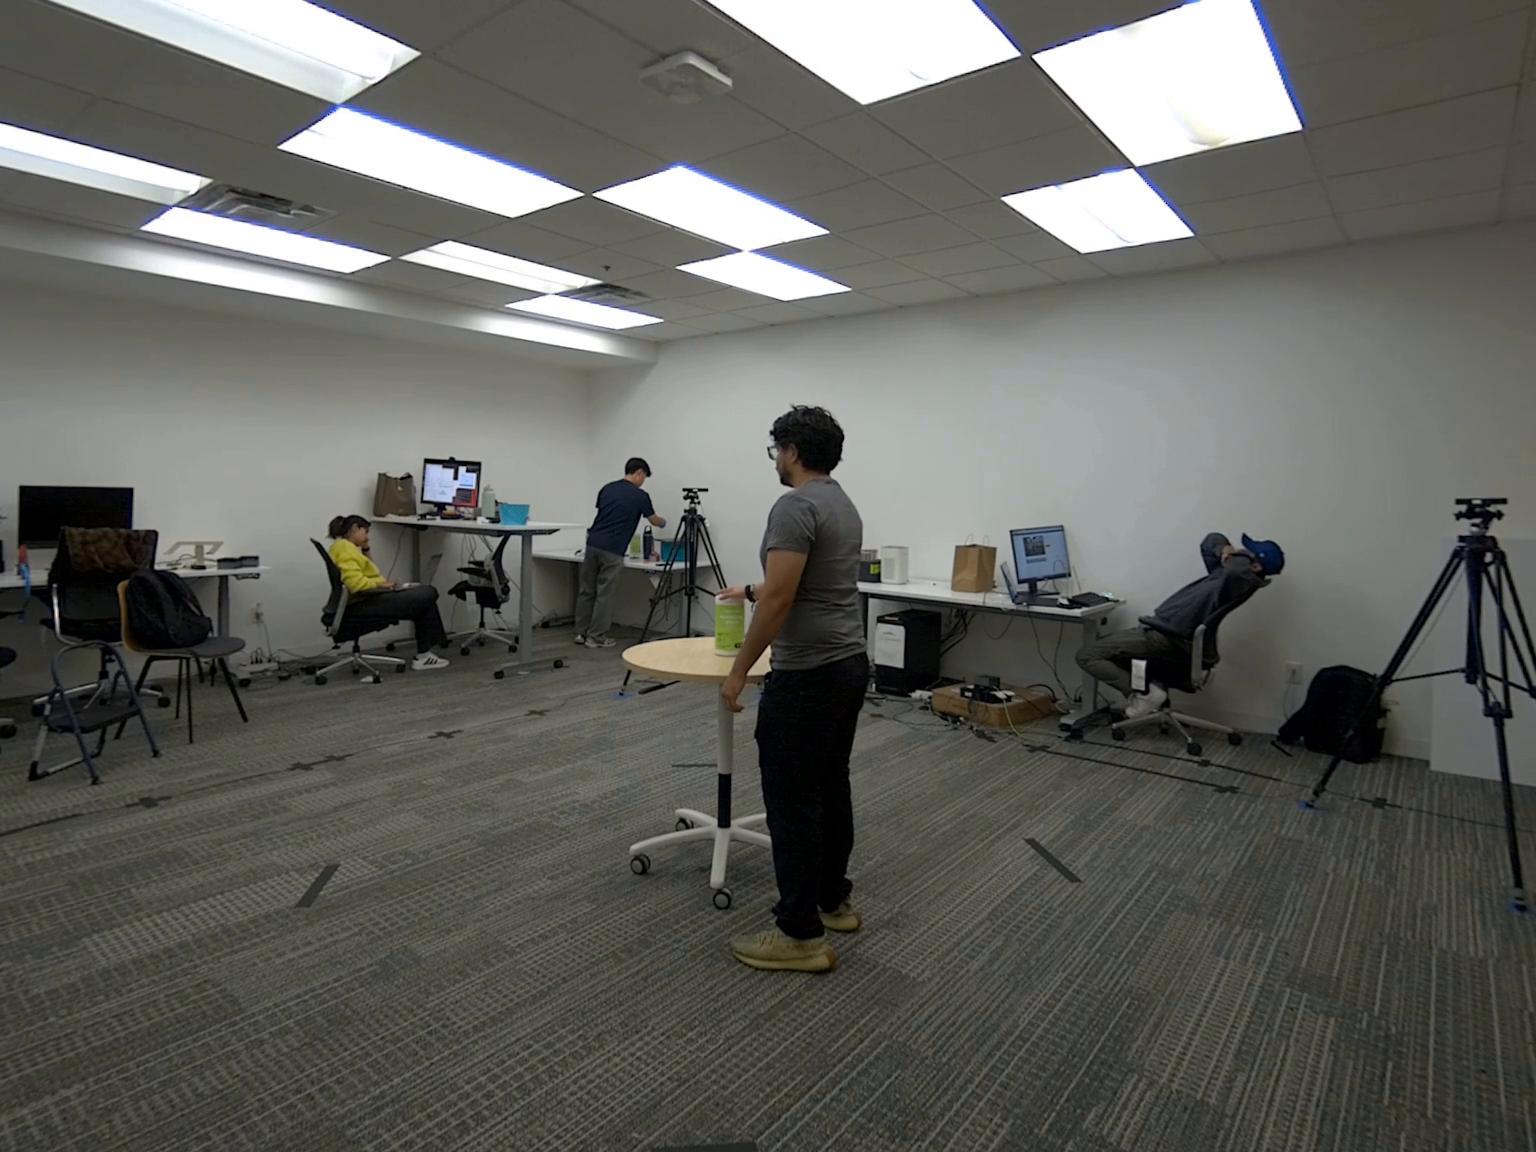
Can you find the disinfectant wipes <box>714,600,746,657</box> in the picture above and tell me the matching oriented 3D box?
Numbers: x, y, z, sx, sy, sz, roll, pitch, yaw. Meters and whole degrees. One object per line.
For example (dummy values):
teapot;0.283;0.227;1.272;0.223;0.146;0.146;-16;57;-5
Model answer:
disinfectant wipes;-0.154;0.180;3.129;0.118;0.217;0.118;2;1;-2
